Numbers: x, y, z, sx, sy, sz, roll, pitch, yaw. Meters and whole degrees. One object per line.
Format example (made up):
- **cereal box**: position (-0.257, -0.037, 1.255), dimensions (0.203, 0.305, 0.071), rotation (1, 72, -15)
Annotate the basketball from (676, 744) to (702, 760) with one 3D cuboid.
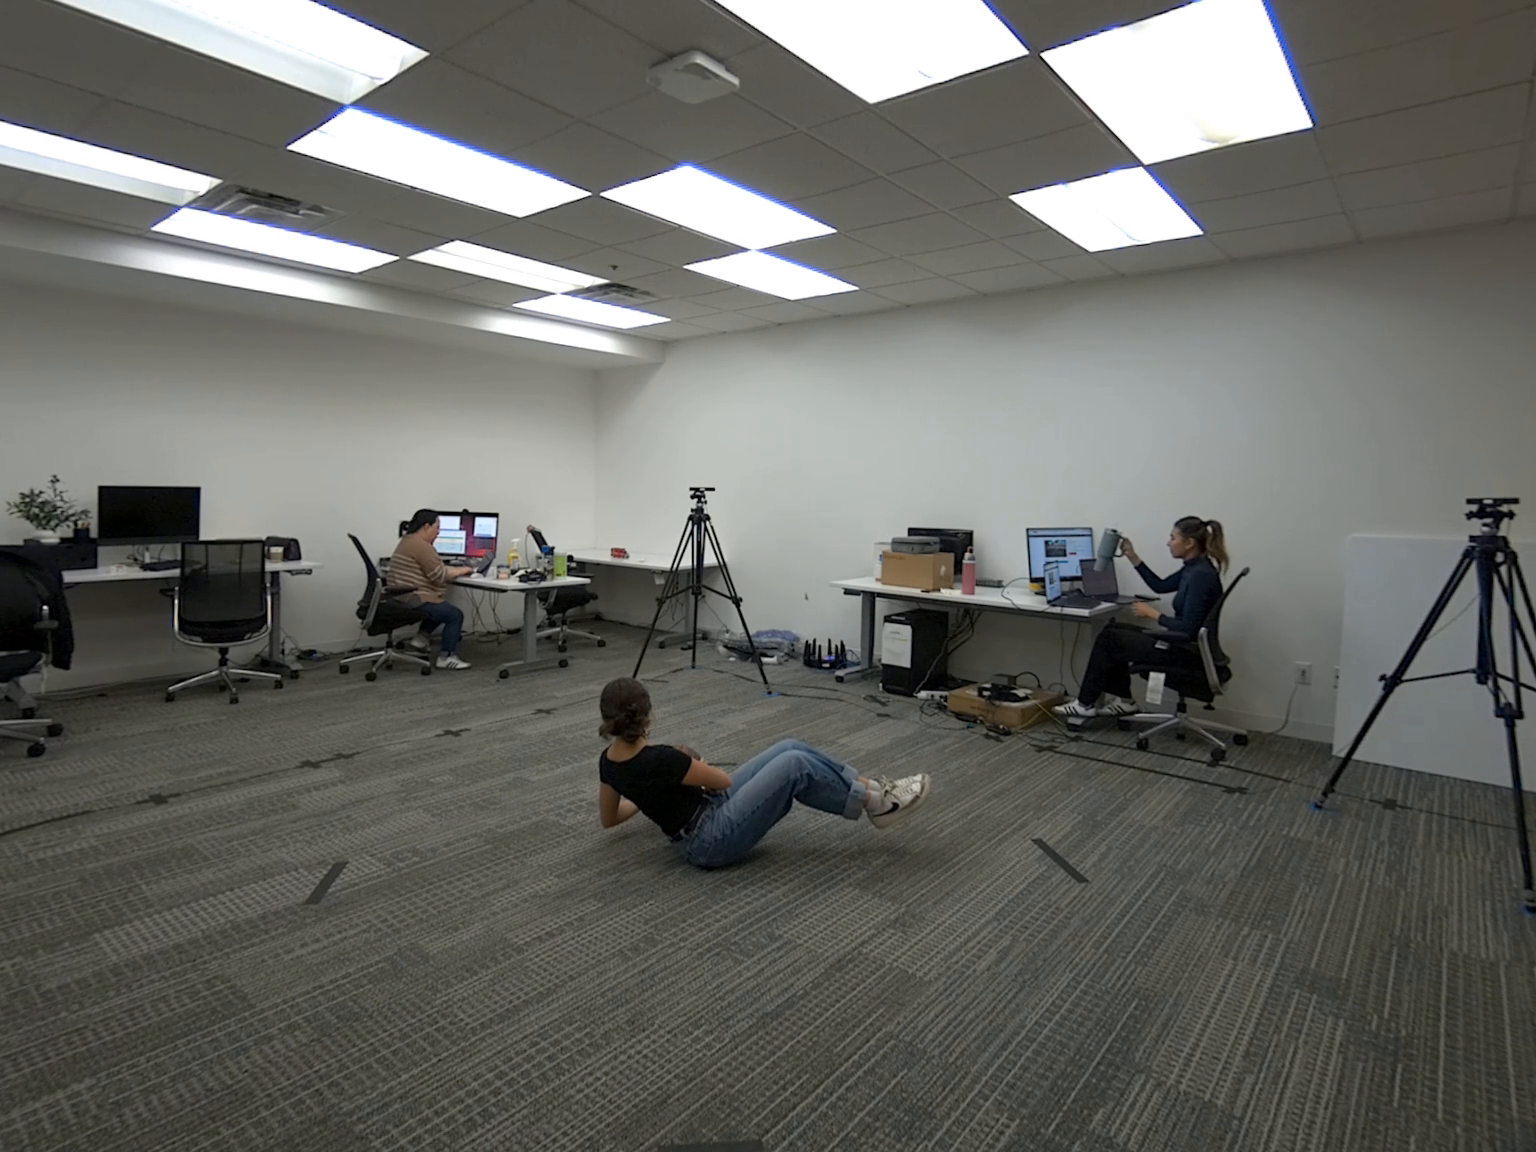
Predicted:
- **basketball**: position (-0.379, 0.817, 3.554), dimensions (0.235, 0.235, 0.237), rotation (1, 4, -2)
